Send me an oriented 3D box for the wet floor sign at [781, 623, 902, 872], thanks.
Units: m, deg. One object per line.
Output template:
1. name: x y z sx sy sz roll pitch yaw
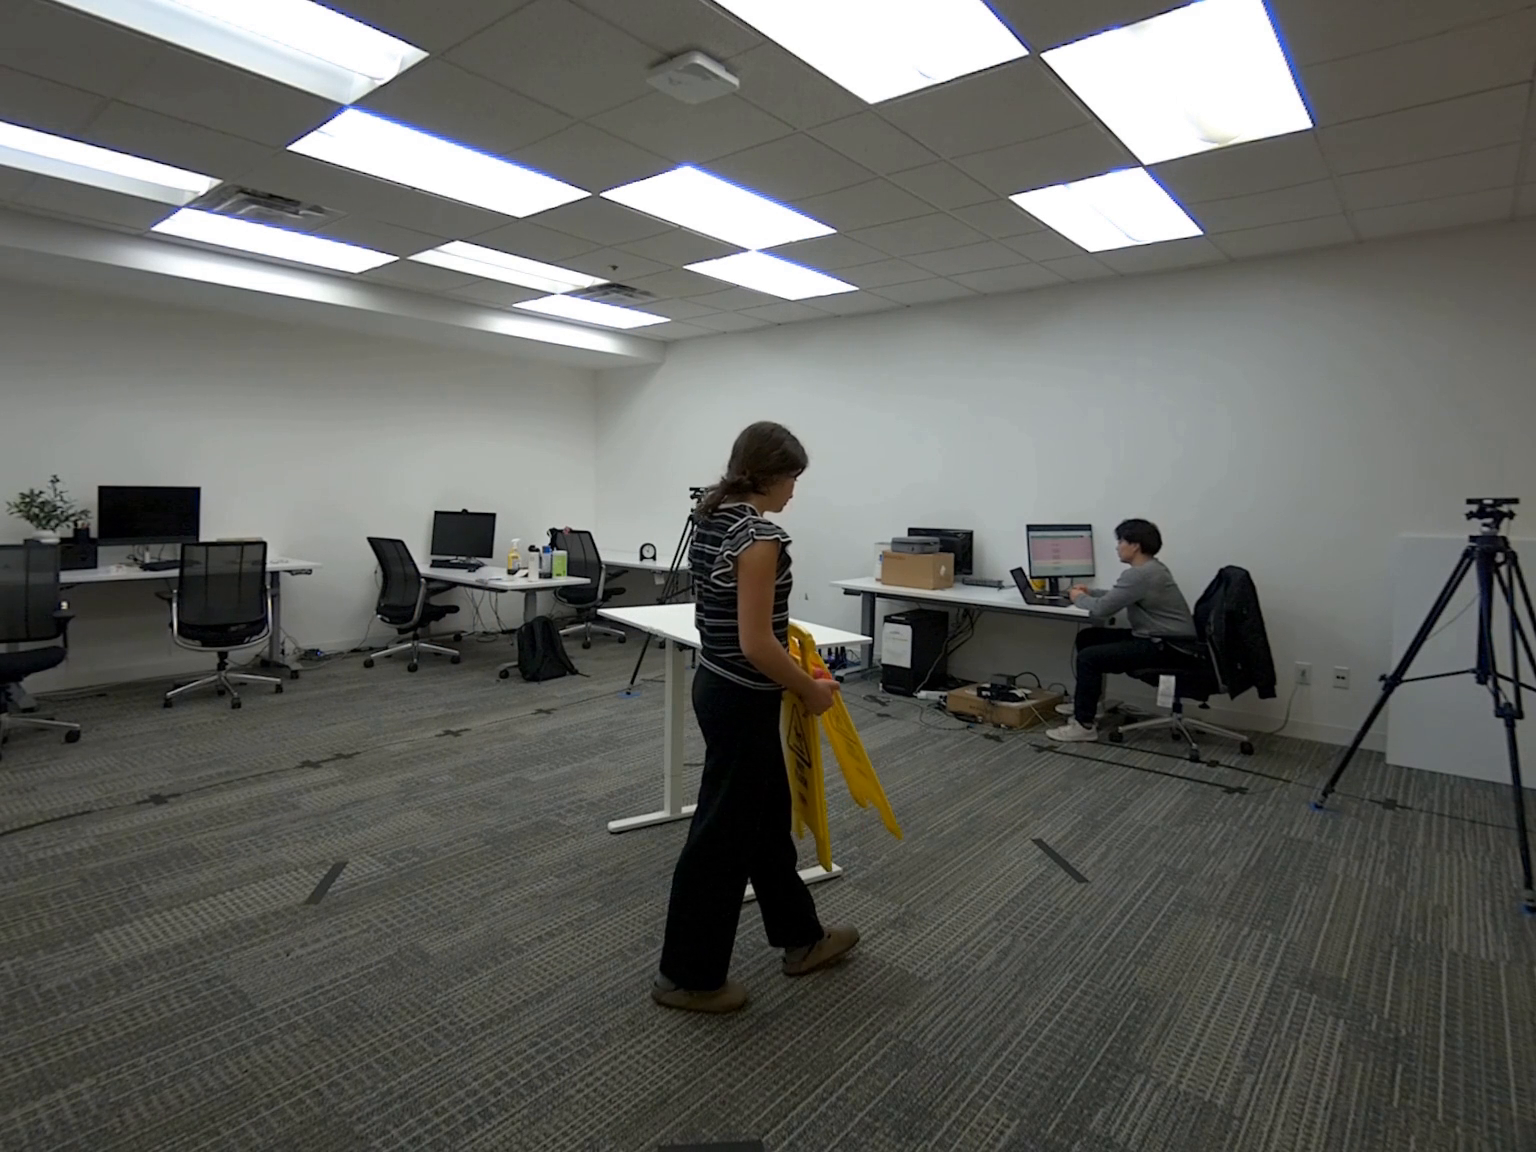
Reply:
1. wet floor sign: 0.138 0.446 2.398 0.286 0.637 0.290 -16 12 -18
